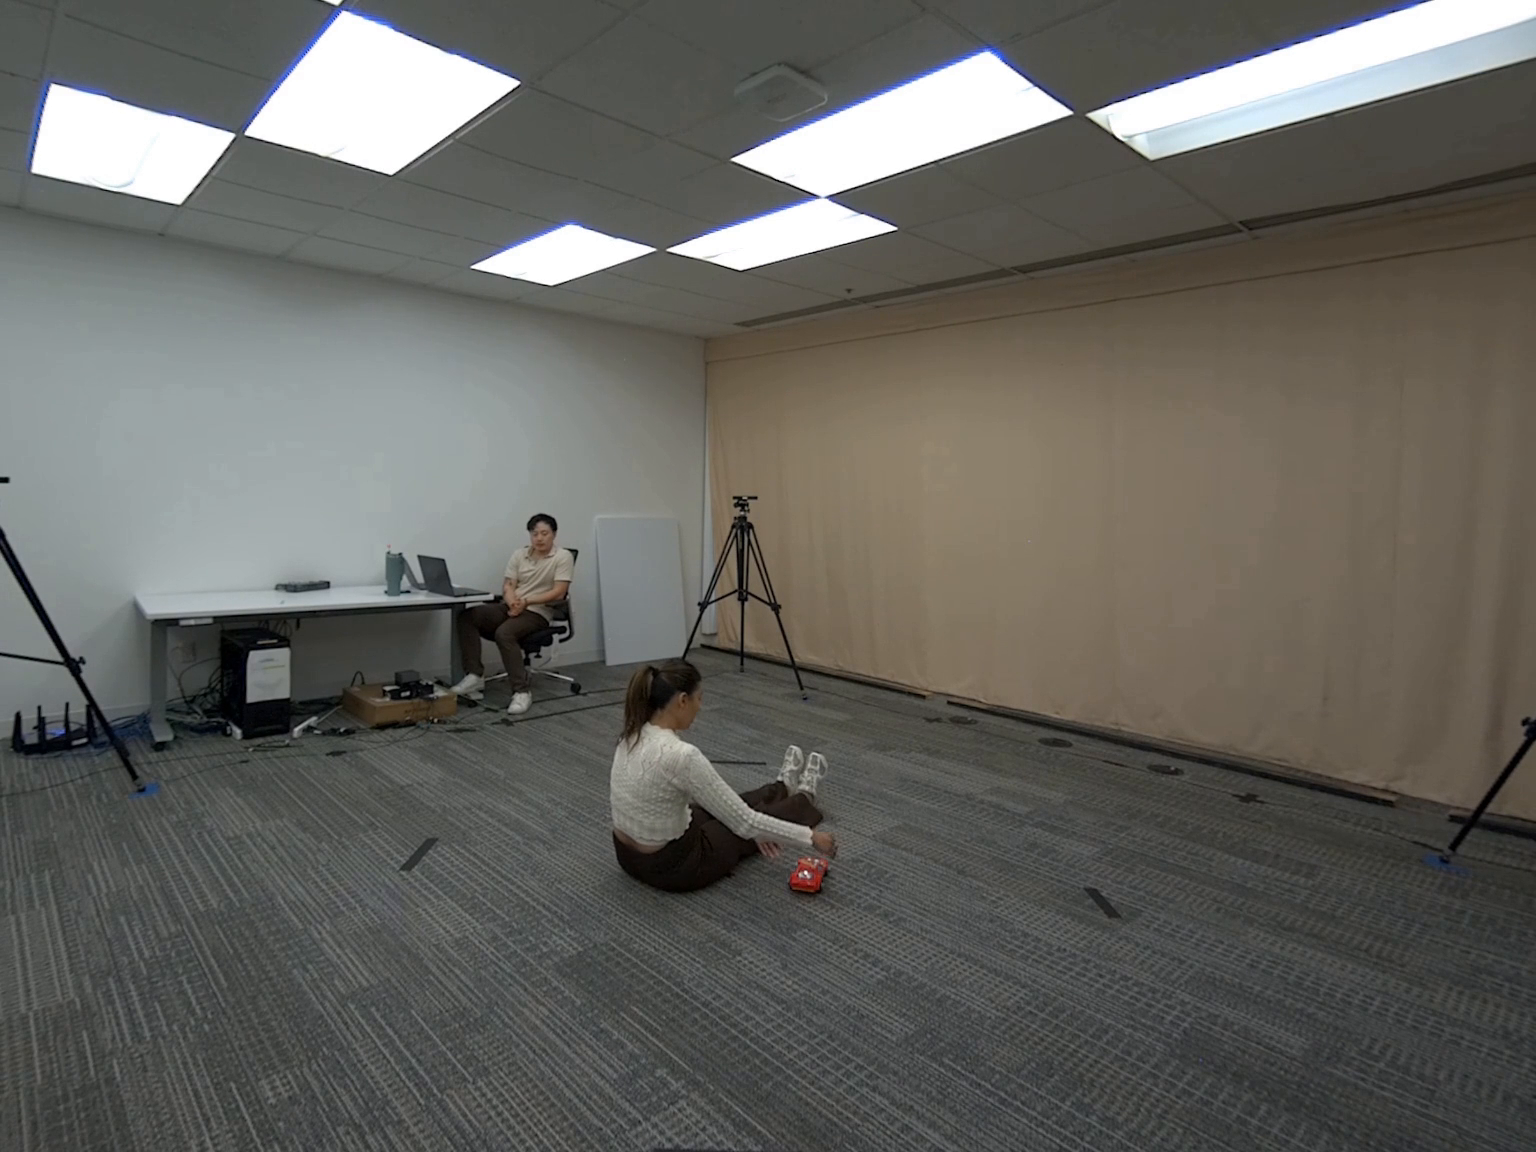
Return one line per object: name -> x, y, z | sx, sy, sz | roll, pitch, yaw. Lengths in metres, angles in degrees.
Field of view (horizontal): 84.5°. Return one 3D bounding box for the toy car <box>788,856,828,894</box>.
toy car -> 0.136, 1.081, 3.035 | 0.132, 0.083, 0.250 | 2, -6, 13
